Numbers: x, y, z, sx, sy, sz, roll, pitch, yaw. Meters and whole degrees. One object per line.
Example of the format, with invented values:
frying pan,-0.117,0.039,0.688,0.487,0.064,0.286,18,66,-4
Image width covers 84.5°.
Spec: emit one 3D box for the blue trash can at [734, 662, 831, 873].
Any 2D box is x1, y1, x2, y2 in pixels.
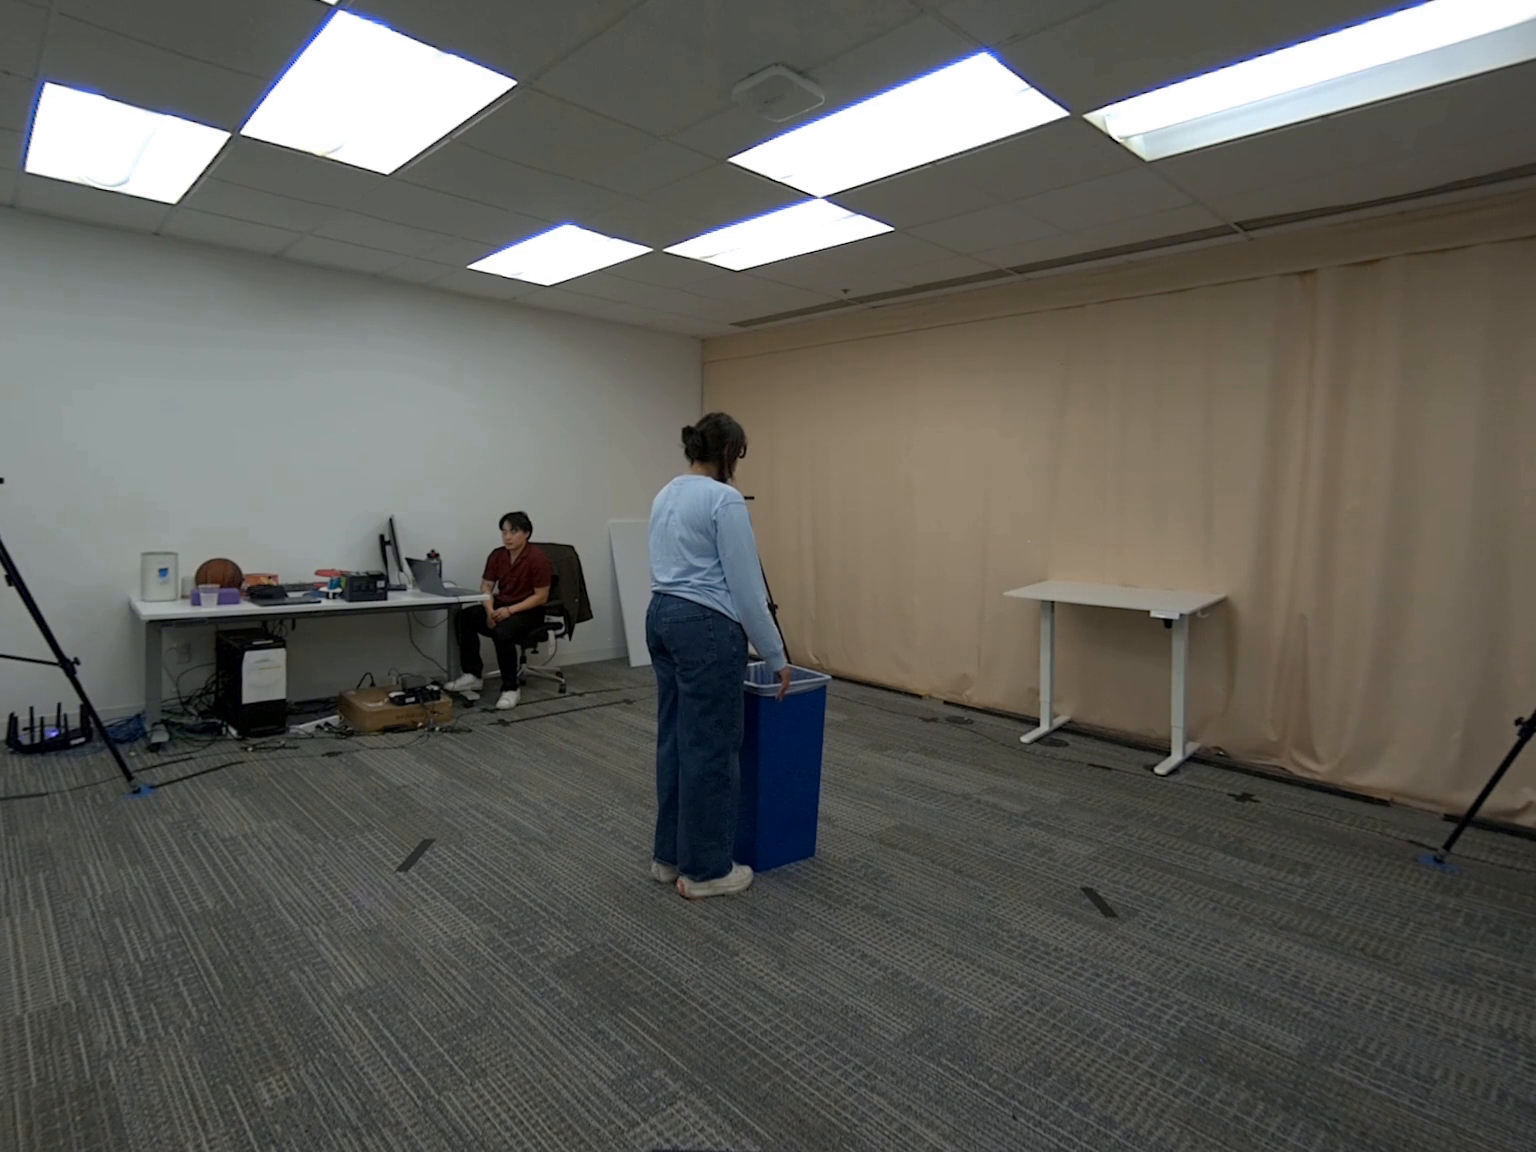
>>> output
blue trash can,-0.009,0.733,3.308,0.369,0.712,0.383,-2,4,-39
